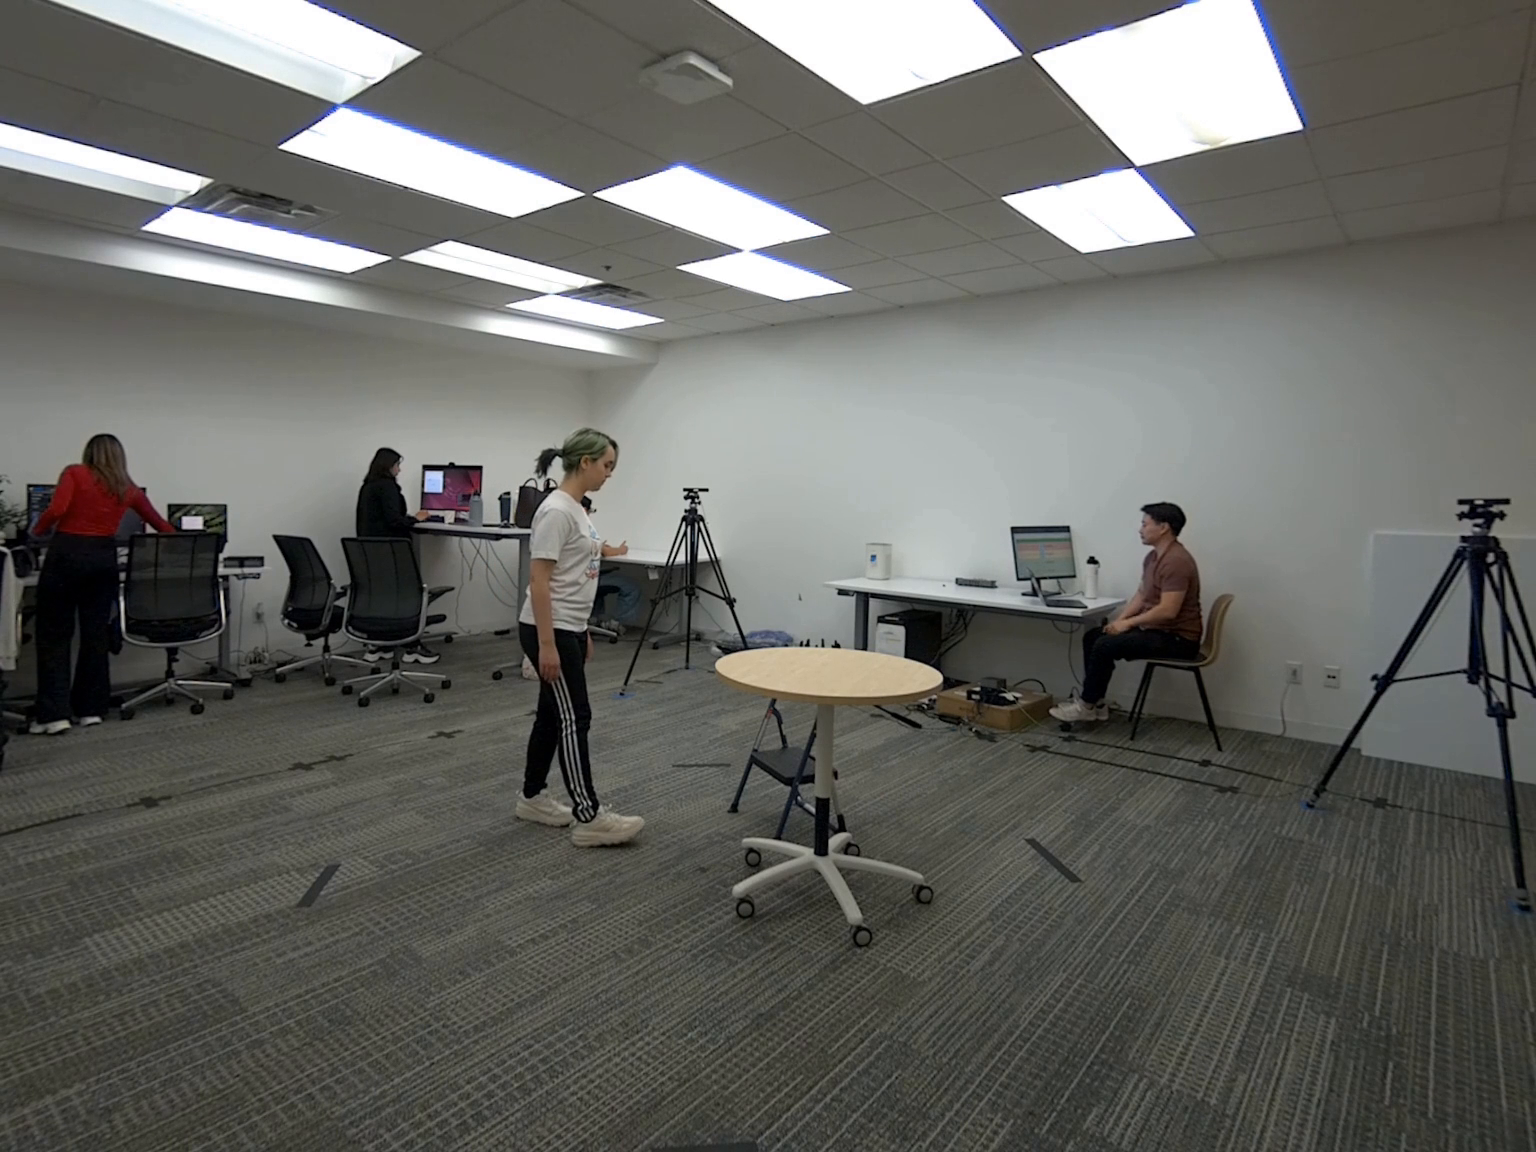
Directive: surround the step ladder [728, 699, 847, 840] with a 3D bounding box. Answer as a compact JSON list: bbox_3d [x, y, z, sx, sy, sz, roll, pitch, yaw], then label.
[{"bbox_3d":[0.077,0.732,3.541,0.341,0.604,0.443,0,4,-26],"label":"step ladder"}]
